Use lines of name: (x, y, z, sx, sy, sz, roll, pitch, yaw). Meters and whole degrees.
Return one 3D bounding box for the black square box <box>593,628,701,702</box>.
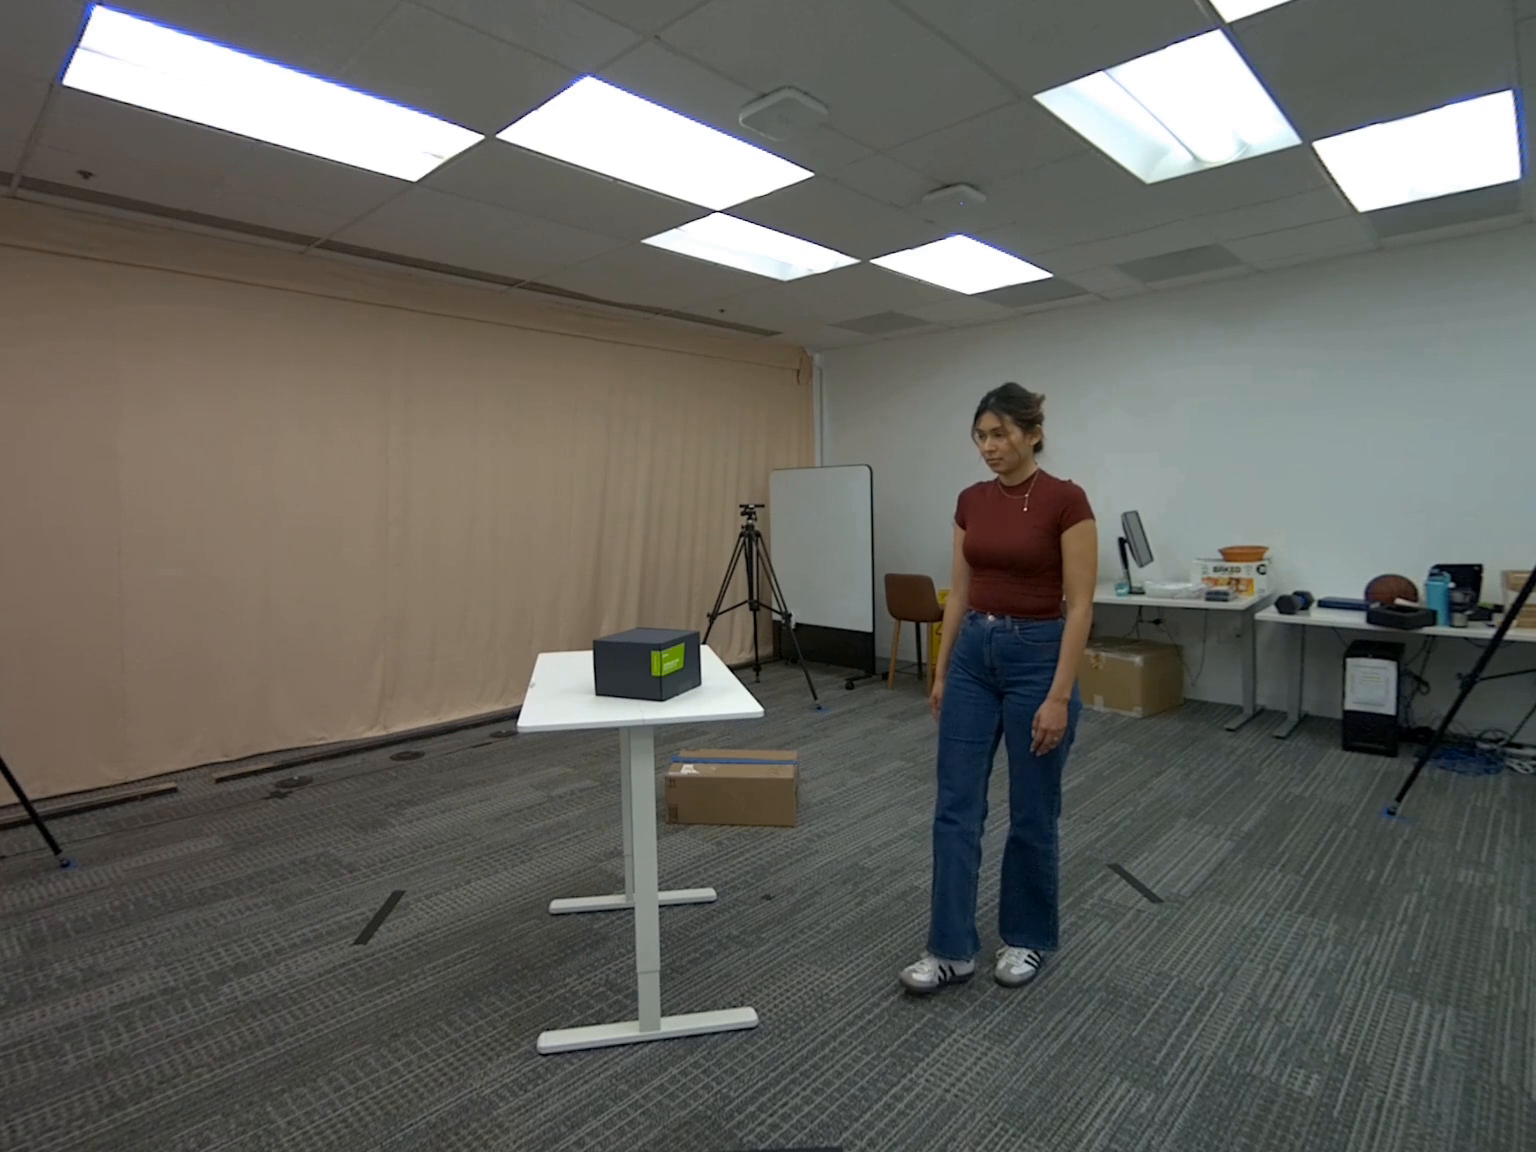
black square box: (-0.331, 0.243, 2.342, 0.222, 0.155, 0.223, 0, 5, 24)
